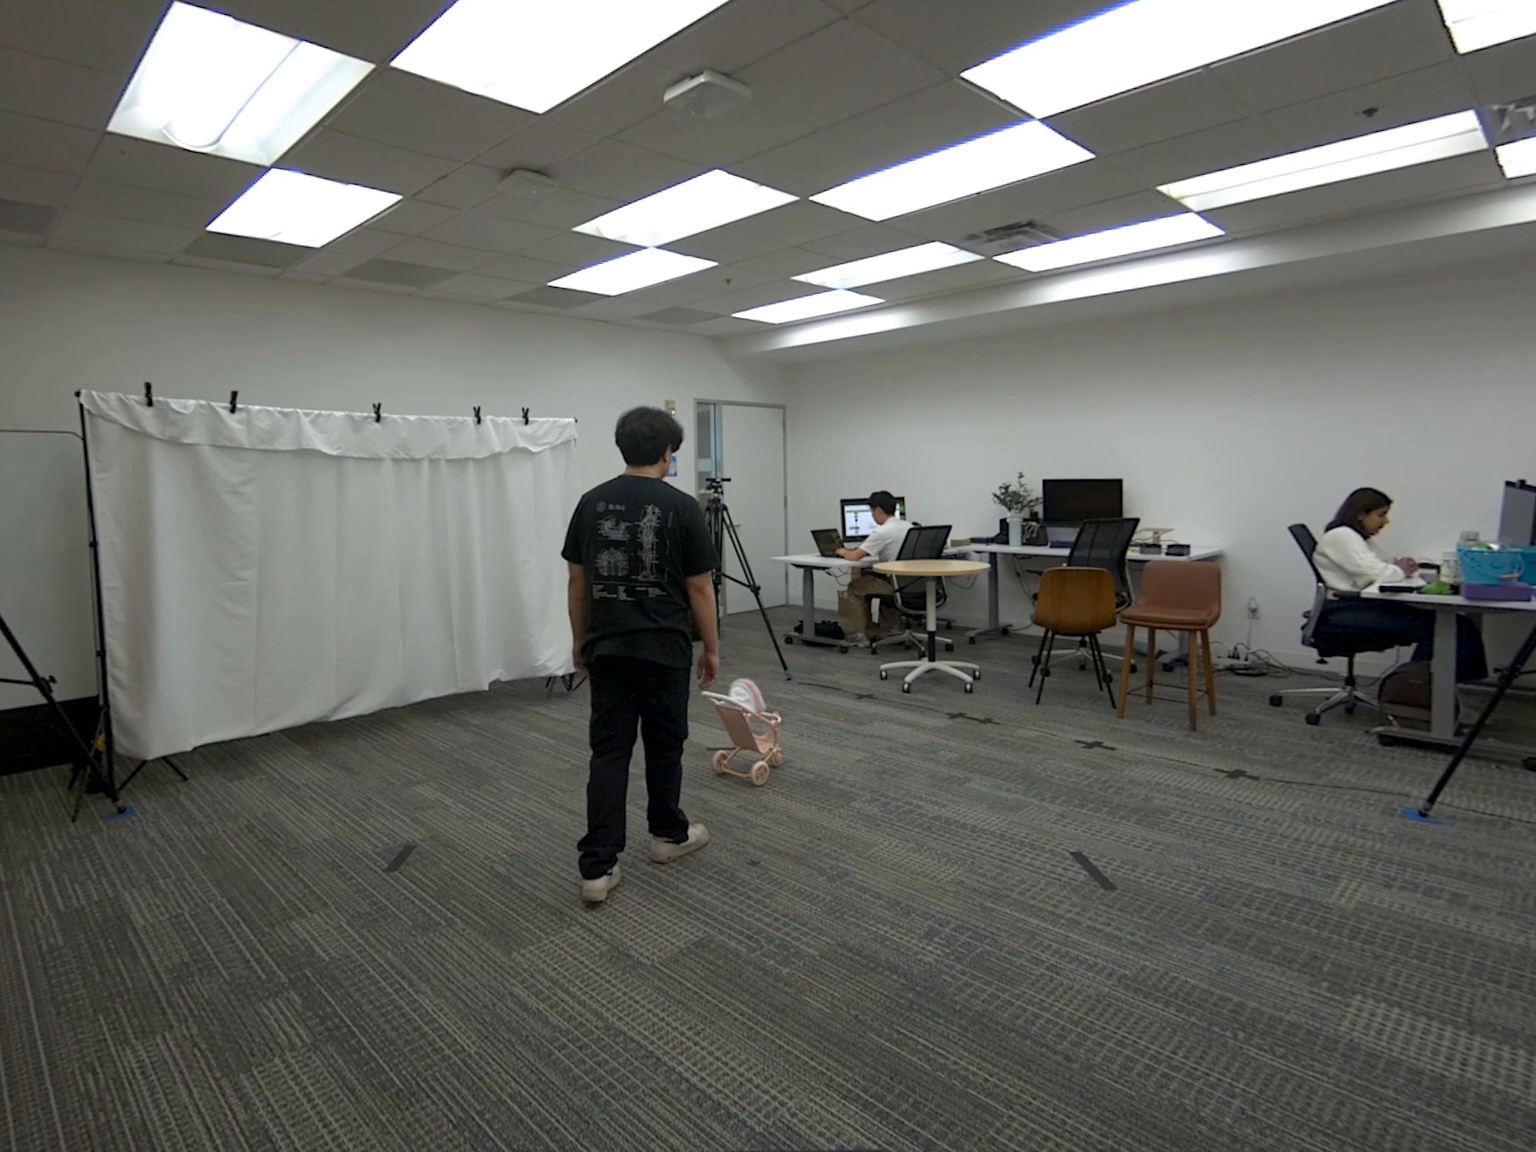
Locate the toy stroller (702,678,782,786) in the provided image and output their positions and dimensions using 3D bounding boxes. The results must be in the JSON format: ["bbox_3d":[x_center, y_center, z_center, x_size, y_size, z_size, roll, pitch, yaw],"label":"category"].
[{"bbox_3d":[-0.092,0.716,4.009,0.336,0.527,0.290,-26,19,-39],"label":"toy stroller"}]
